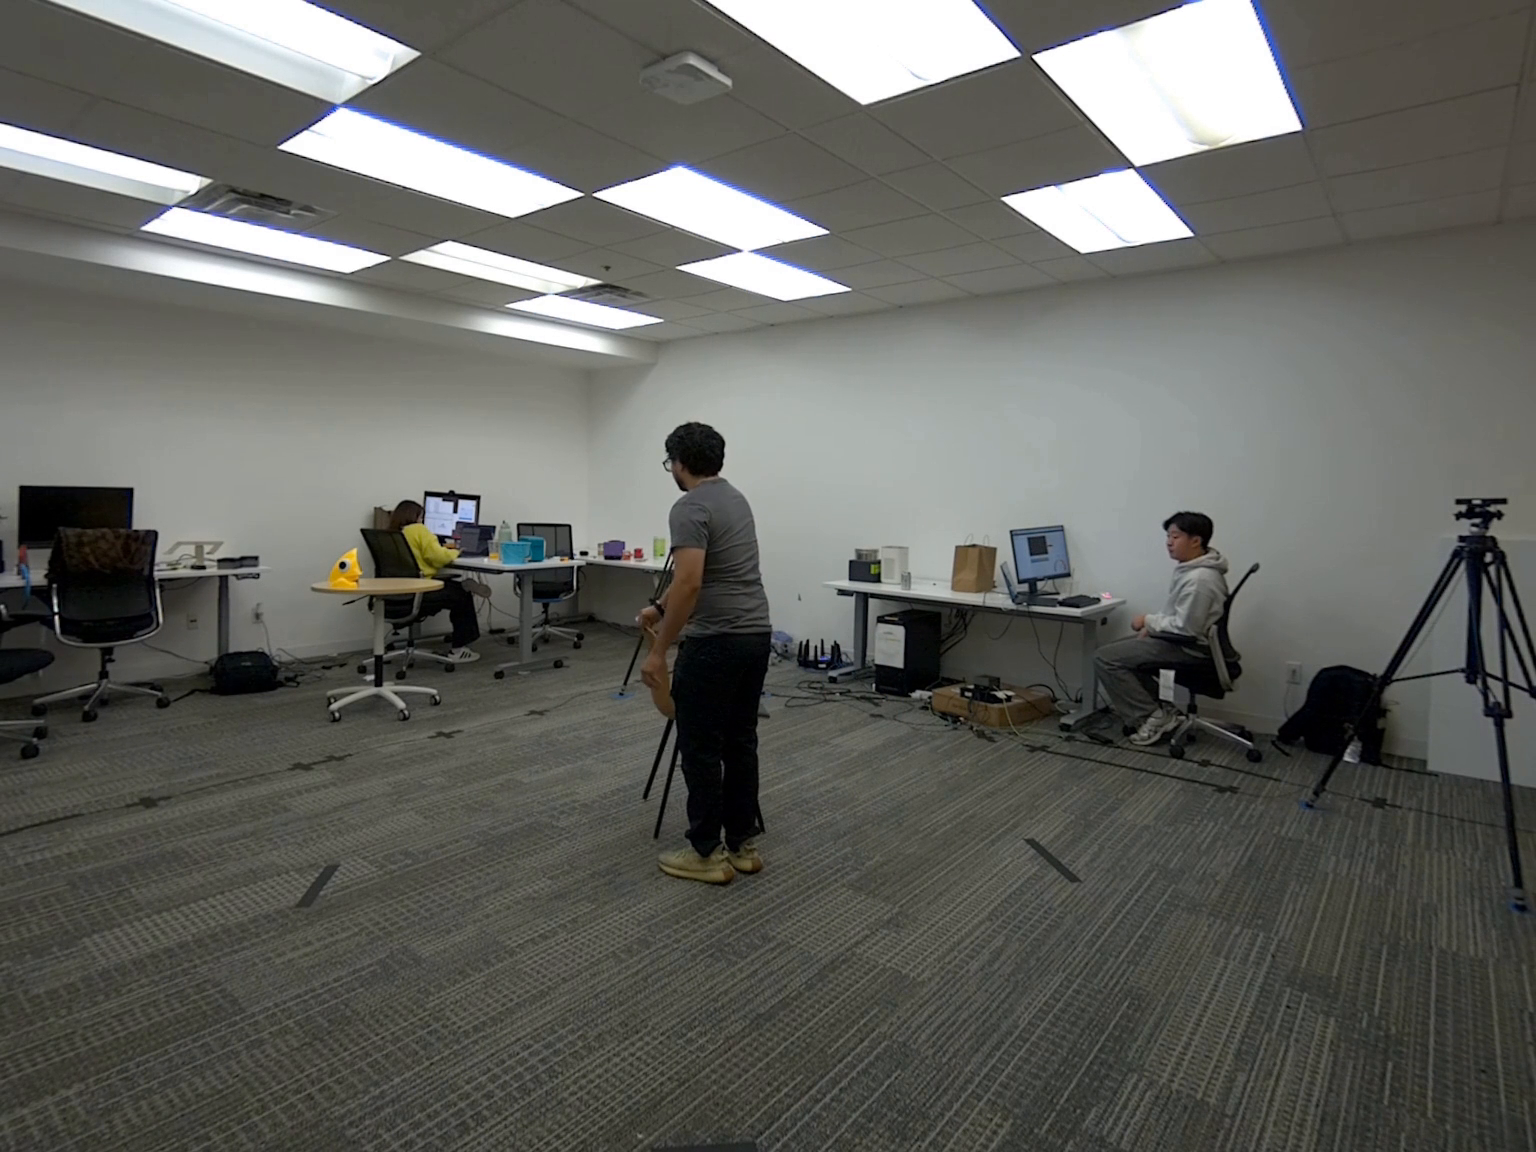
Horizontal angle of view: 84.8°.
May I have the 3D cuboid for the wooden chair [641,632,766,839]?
[{"bbox_3d":[-0.276,0.593,3.606,0.517,0.874,0.486,-4,4,-13],"label":"wooden chair"}]
